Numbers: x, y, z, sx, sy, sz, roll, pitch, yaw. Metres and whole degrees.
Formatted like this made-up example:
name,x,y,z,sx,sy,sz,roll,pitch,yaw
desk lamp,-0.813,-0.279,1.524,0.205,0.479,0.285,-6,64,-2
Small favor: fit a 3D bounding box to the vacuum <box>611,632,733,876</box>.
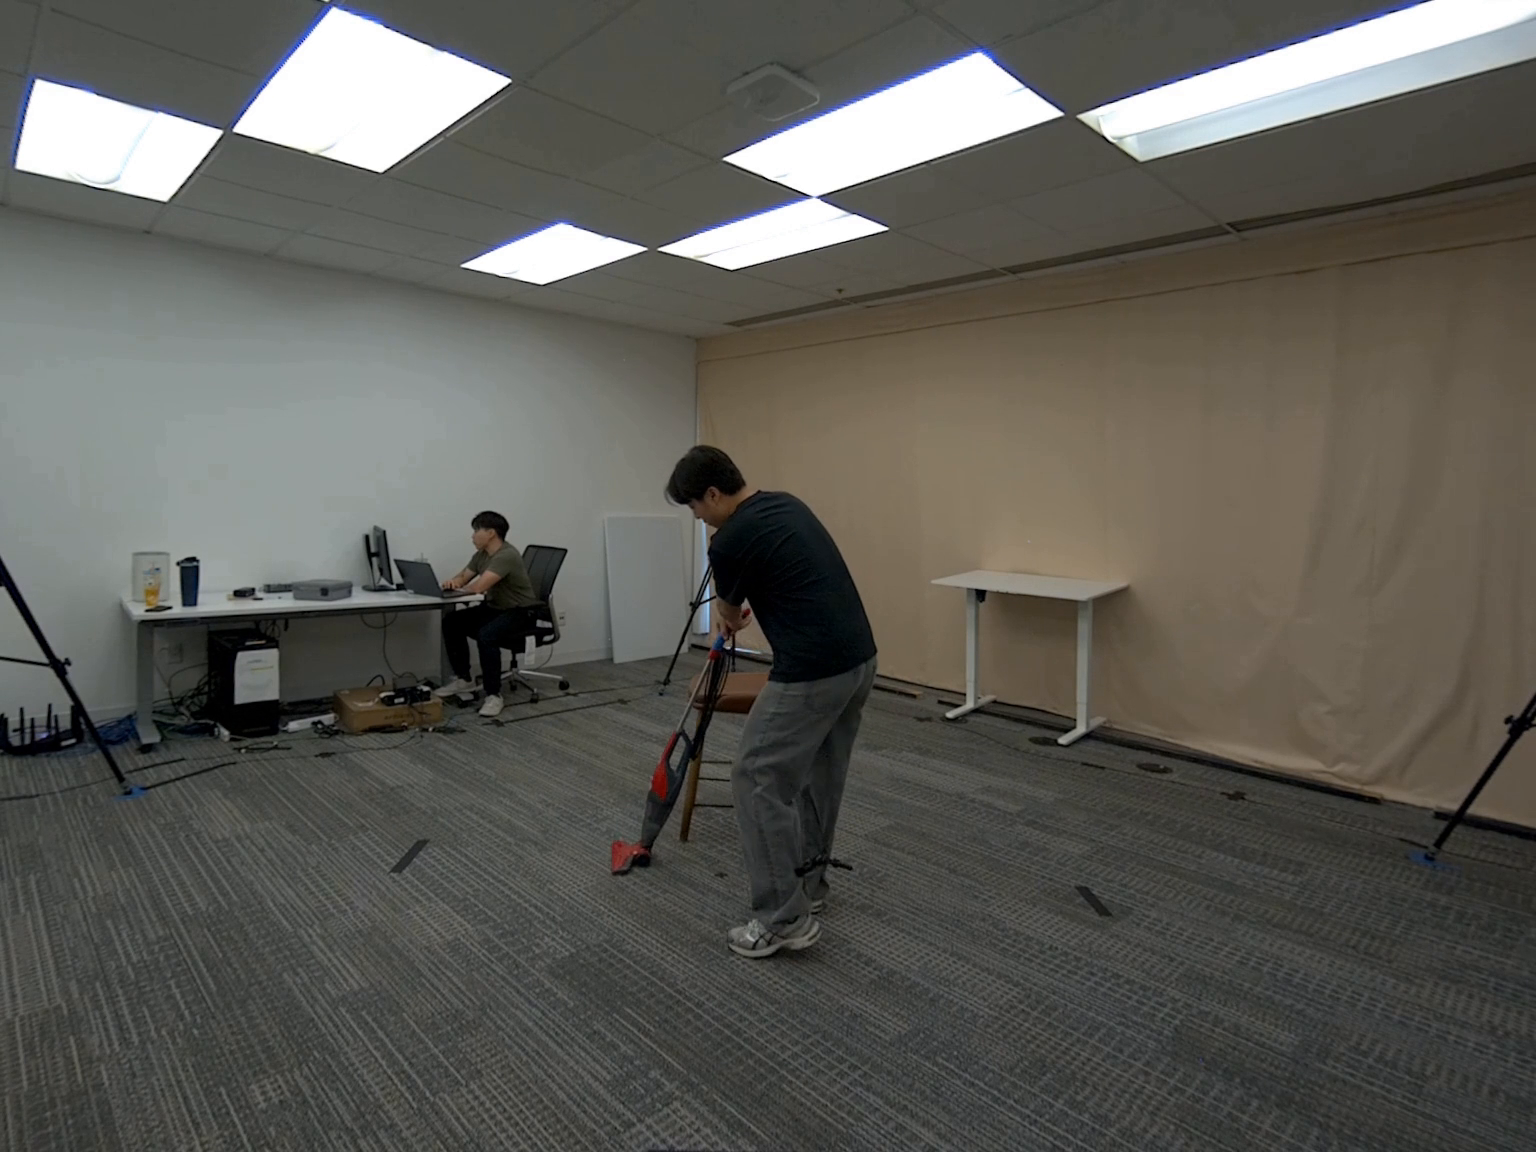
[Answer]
name,x,y,z,sx,sy,sz,roll,pitch,yaw
vacuum,-0.316,0.610,3.206,0.142,1.049,0.255,25,-1,-12
